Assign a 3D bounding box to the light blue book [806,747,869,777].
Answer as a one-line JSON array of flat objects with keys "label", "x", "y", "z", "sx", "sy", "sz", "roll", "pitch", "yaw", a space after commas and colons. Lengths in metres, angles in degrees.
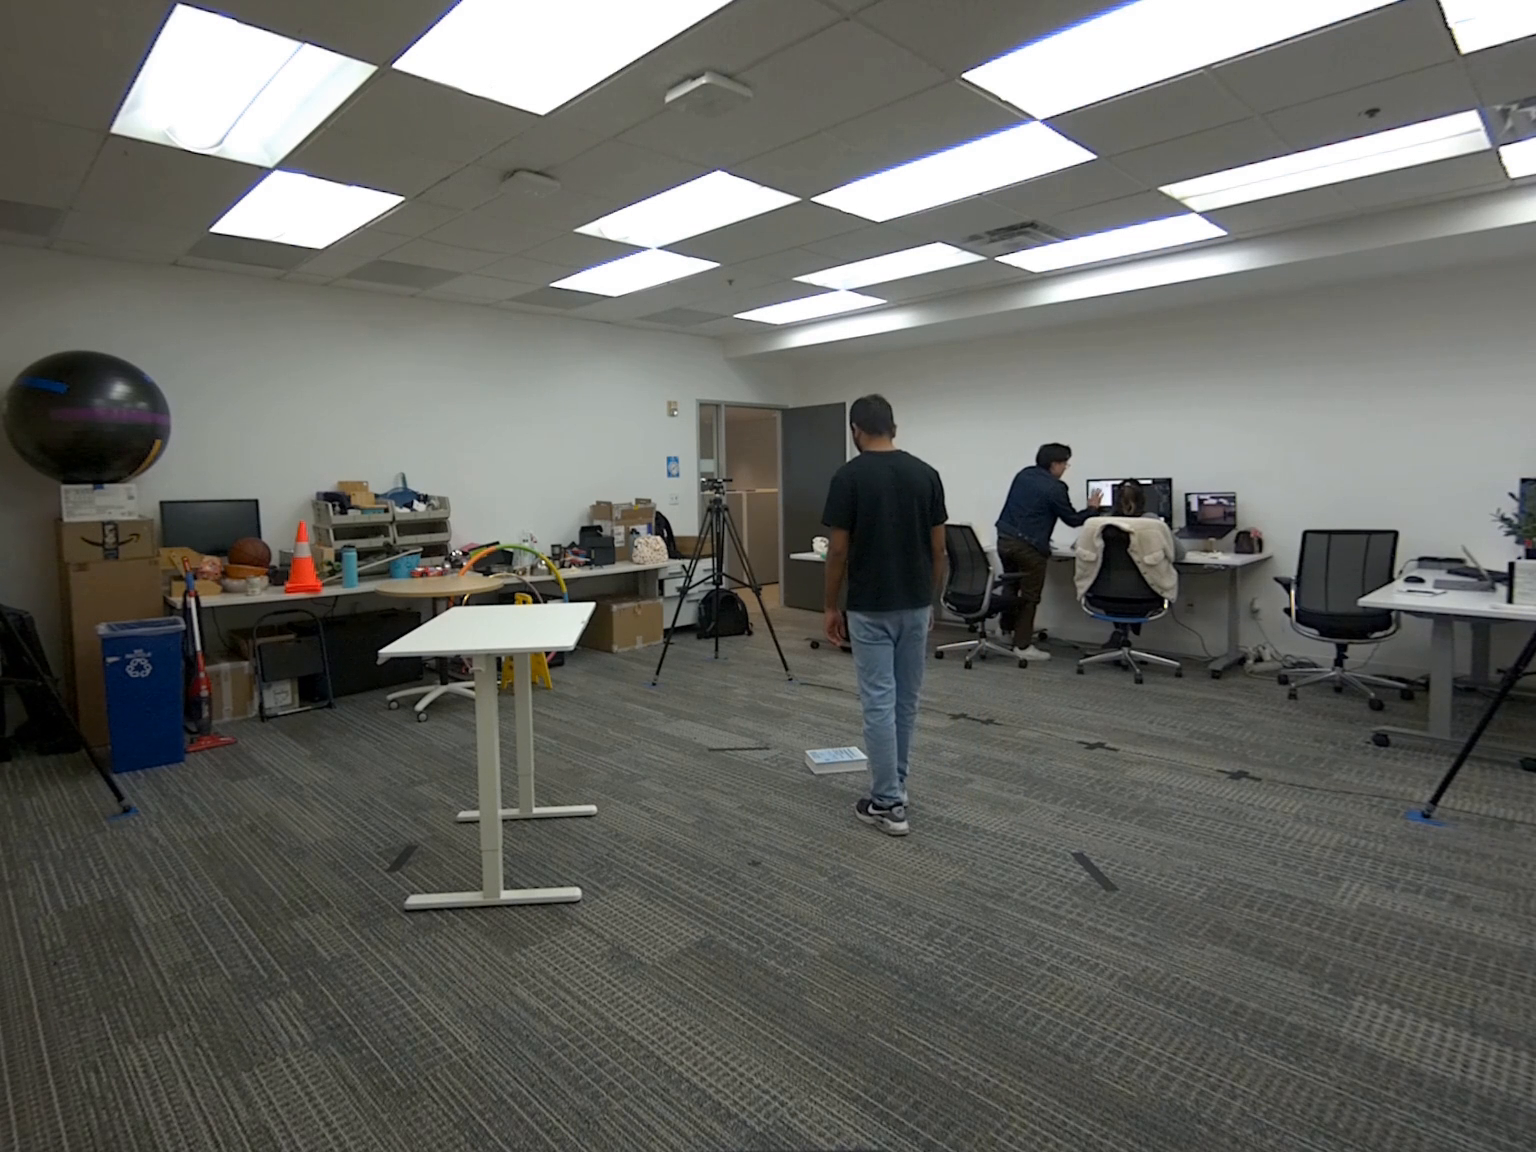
[{"label": "light blue book", "x": 0.340, "y": 0.895, "z": 4.146, "sx": 0.258, "sy": 0.059, "sz": 0.194, "roll": -3, "pitch": 7, "yaw": -11}]
